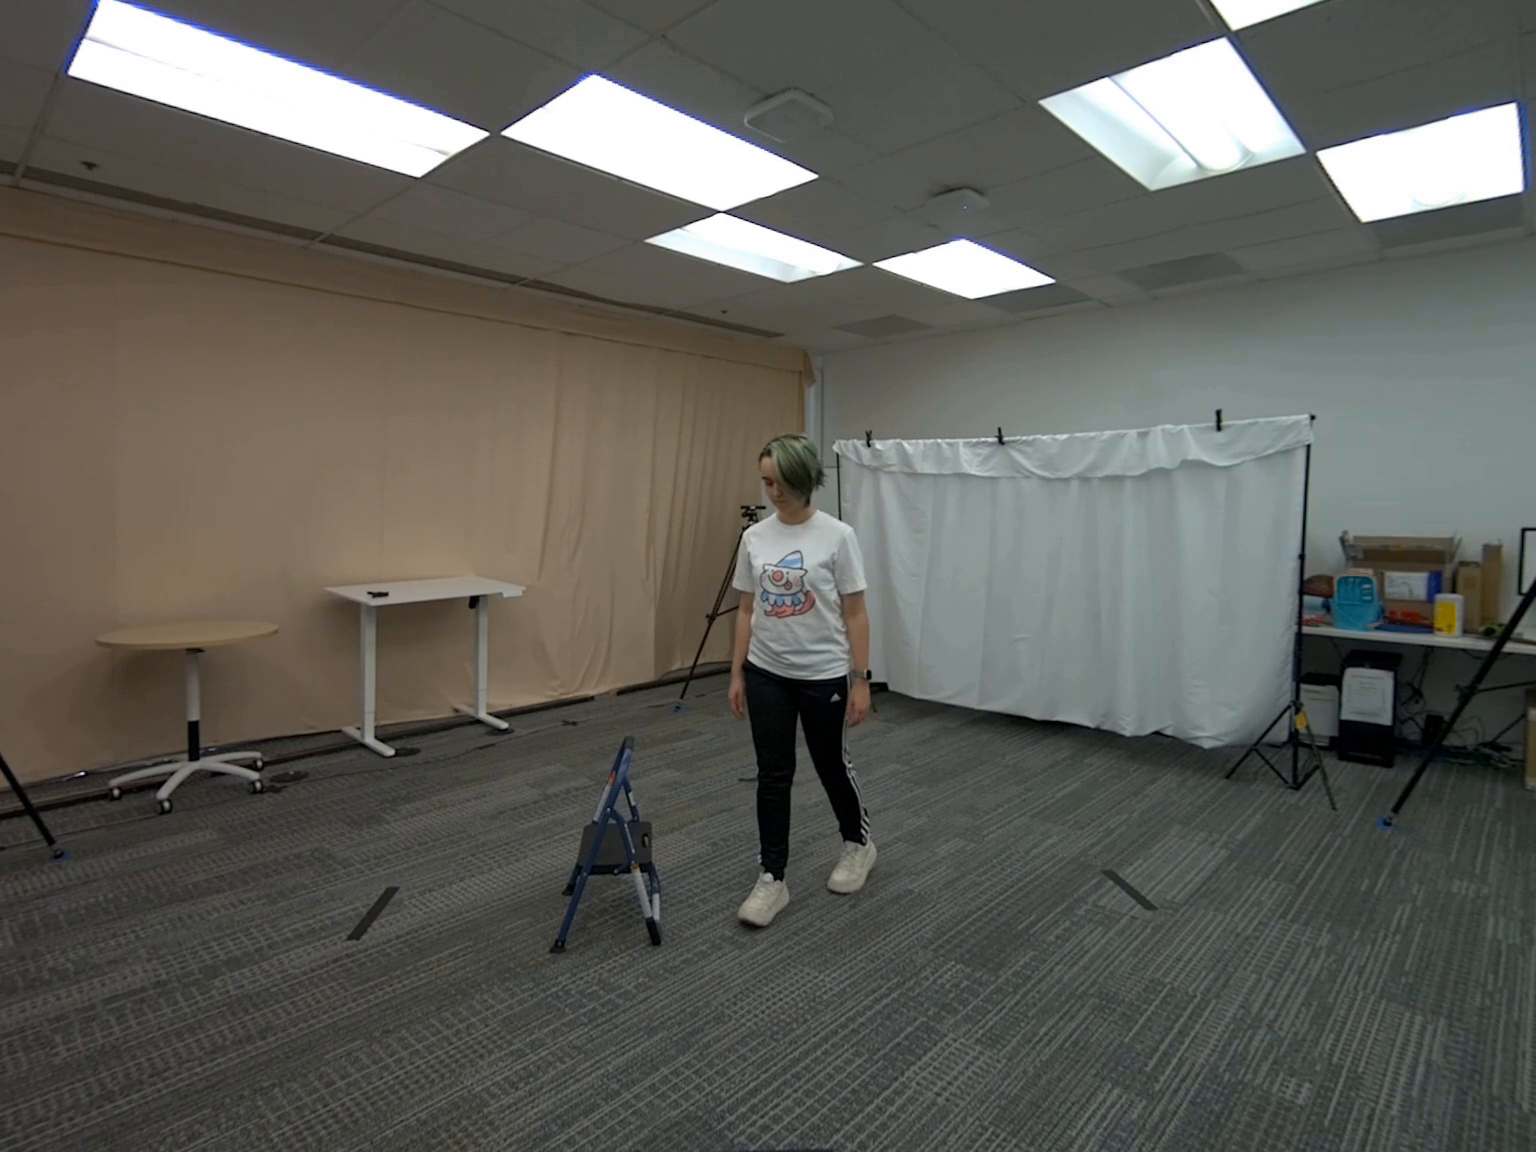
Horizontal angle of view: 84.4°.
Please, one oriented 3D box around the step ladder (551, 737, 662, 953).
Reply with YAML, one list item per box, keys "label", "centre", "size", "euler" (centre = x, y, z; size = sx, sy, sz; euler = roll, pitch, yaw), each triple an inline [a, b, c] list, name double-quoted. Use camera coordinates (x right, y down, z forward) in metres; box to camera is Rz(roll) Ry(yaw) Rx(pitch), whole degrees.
- label: "step ladder"
  centre: [-0.537, 0.861, 2.836]
  size: [0.347, 0.605, 0.435]
  euler: [-1, 3, -8]
